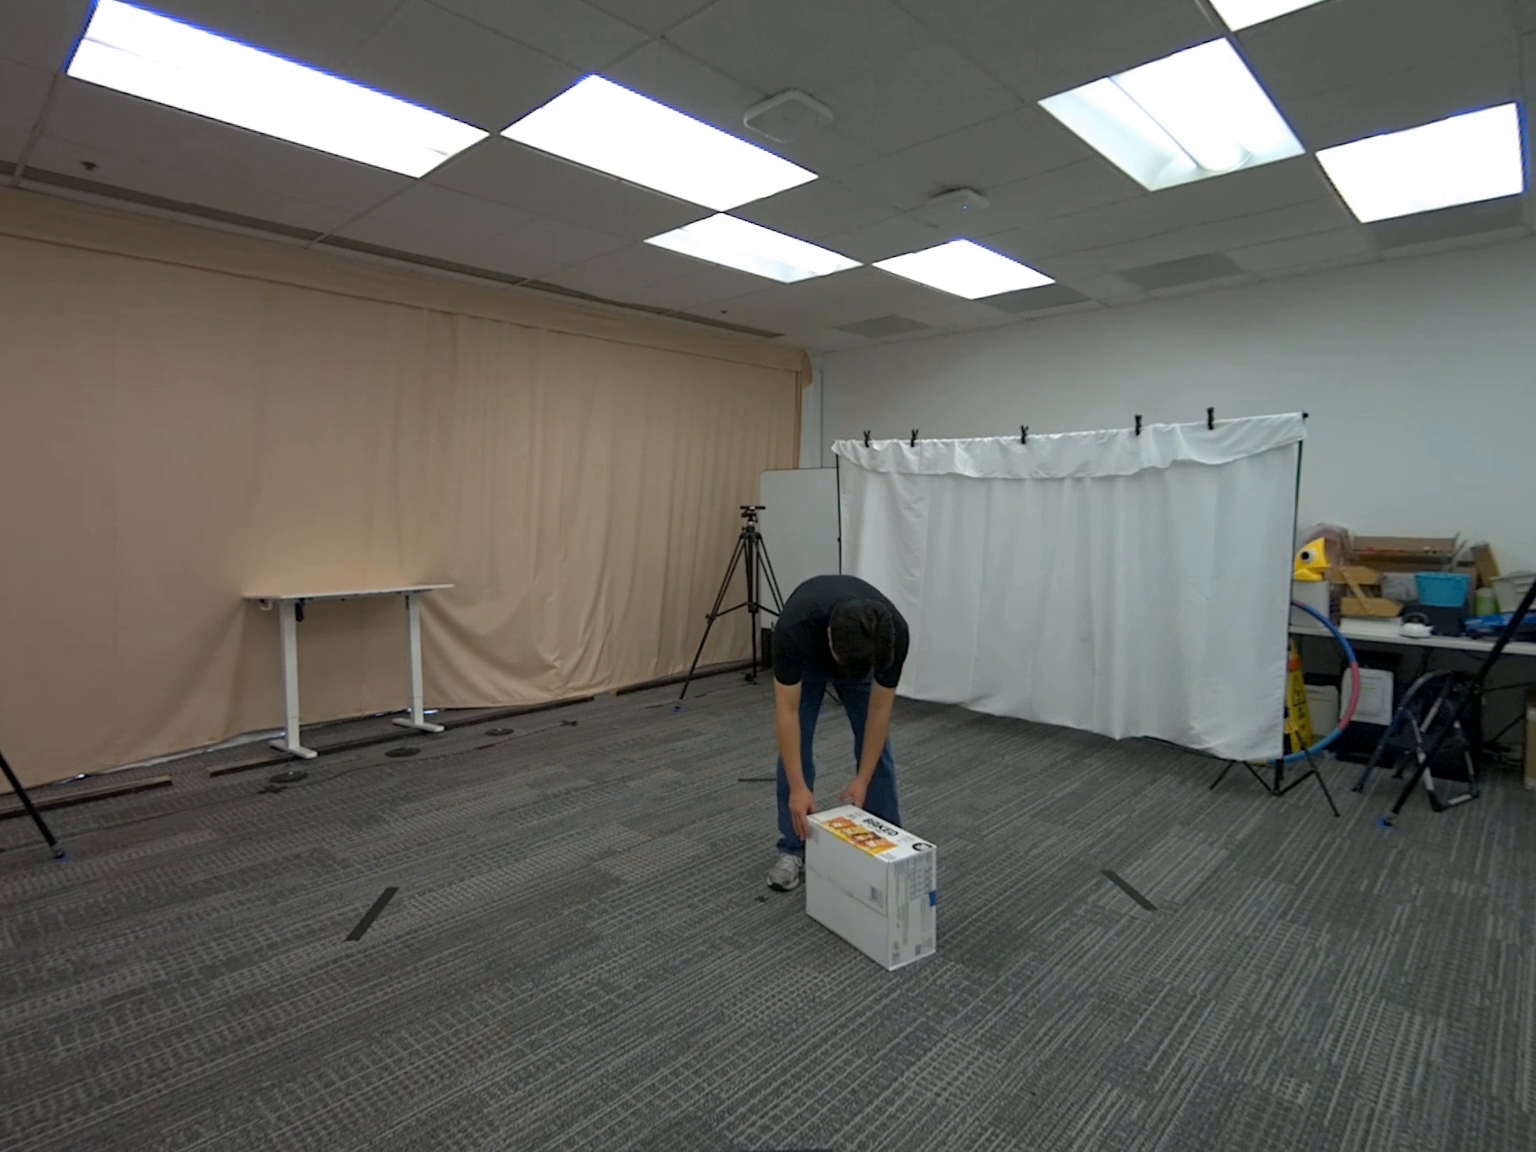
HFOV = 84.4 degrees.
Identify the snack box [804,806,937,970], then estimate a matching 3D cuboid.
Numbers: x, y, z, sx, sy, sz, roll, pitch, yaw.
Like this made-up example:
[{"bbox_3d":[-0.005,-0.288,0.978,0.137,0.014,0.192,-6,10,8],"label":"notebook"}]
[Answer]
[{"bbox_3d":[0.335,0.987,2.726,0.200,0.339,0.418,-4,6,-33],"label":"snack box"}]
